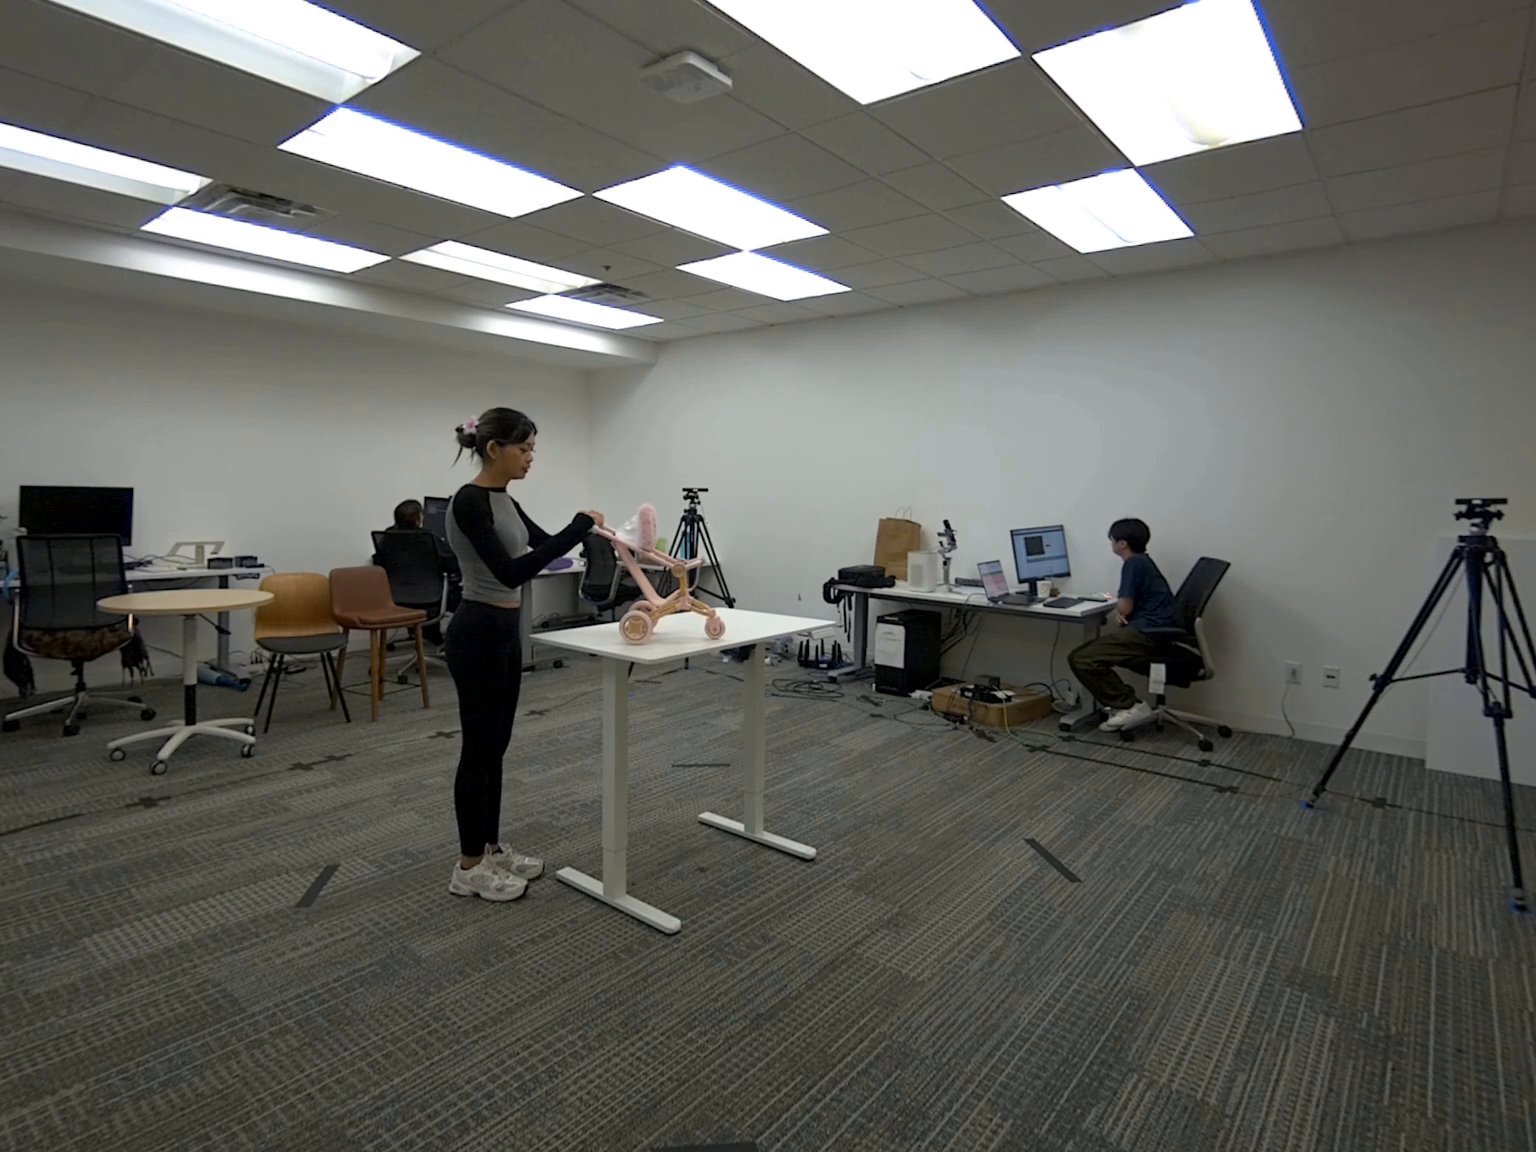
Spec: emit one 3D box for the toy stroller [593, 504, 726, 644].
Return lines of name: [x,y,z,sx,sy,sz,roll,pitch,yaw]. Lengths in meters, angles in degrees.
toy stroller: [-0.390,-0.005,2.849,0.343,0.534,0.281,-17,2,5]
